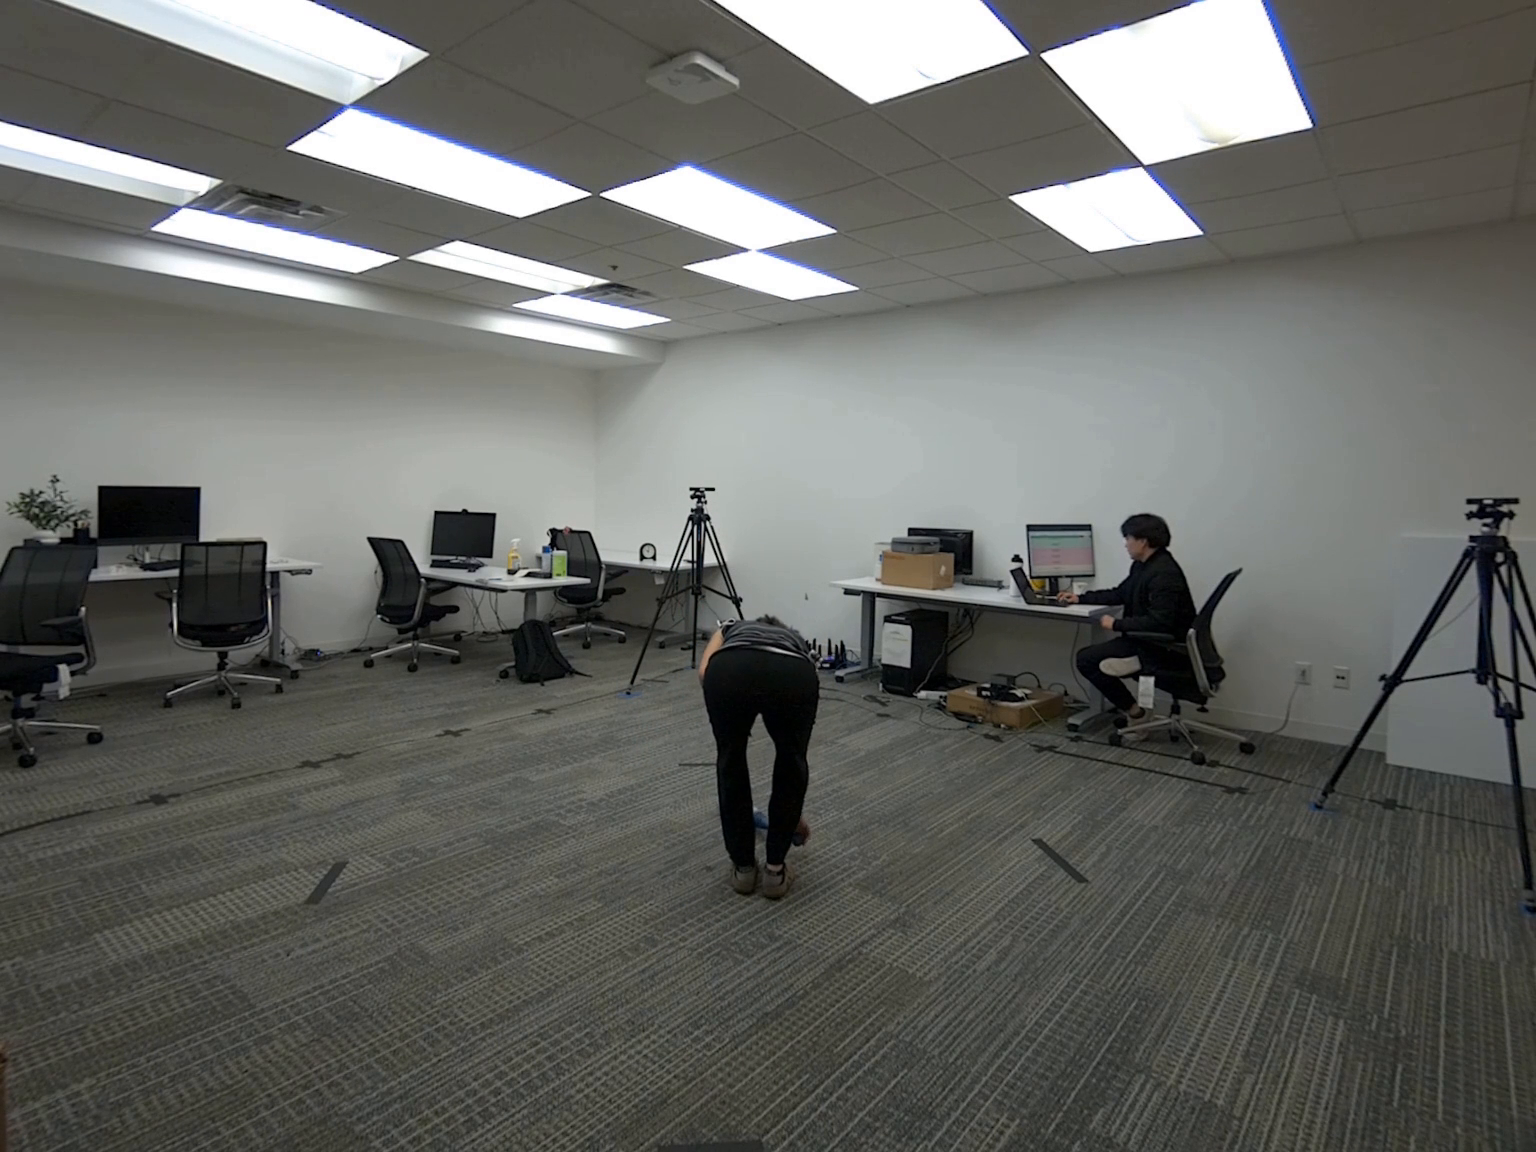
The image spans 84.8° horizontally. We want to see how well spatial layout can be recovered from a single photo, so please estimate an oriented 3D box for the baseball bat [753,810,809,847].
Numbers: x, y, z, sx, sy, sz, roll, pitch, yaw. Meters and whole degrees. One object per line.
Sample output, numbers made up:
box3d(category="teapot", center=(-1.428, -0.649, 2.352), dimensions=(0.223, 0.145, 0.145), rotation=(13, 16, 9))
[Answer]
box3d(category="baseball bat", center=(-0.044, 0.982, 3.432), dimensions=(0.086, 0.089, 0.560), rotation=(-2, 5, -34))
